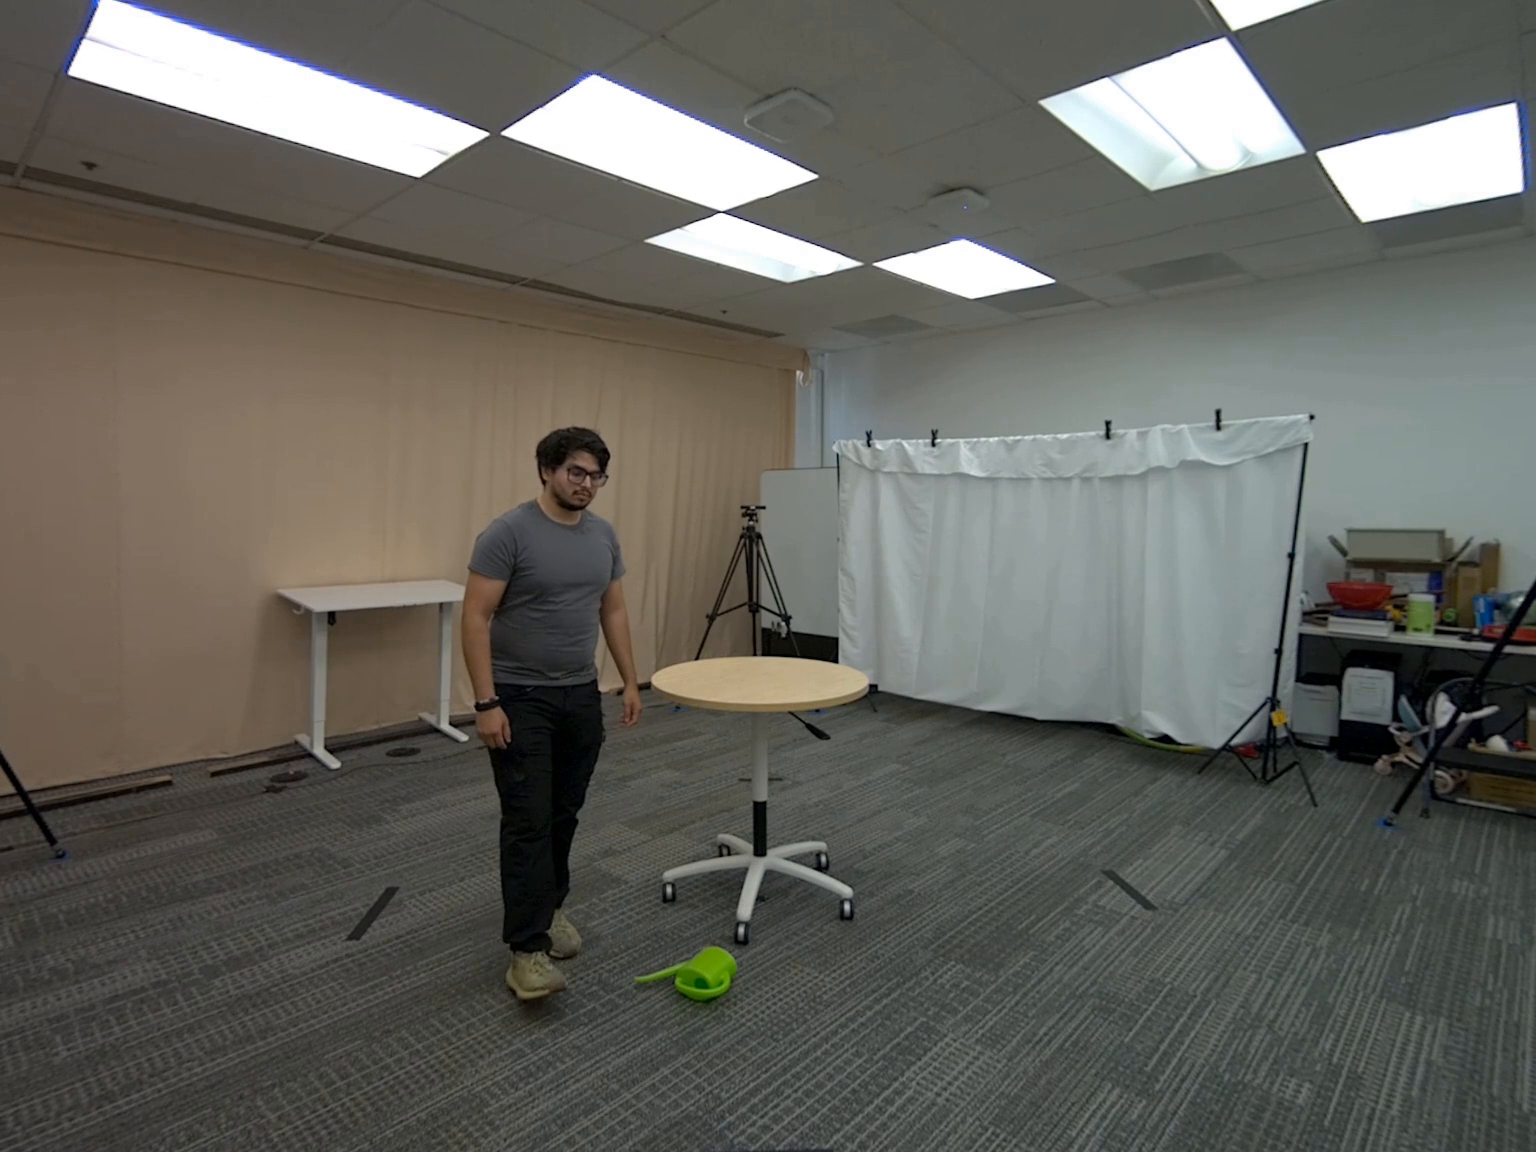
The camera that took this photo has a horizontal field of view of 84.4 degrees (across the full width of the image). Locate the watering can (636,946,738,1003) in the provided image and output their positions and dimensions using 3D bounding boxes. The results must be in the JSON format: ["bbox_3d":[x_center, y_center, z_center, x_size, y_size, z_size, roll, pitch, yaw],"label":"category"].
[{"bbox_3d":[-0.222,1.145,2.417,0.287,0.097,0.172,11,10,28],"label":"watering can"}]
